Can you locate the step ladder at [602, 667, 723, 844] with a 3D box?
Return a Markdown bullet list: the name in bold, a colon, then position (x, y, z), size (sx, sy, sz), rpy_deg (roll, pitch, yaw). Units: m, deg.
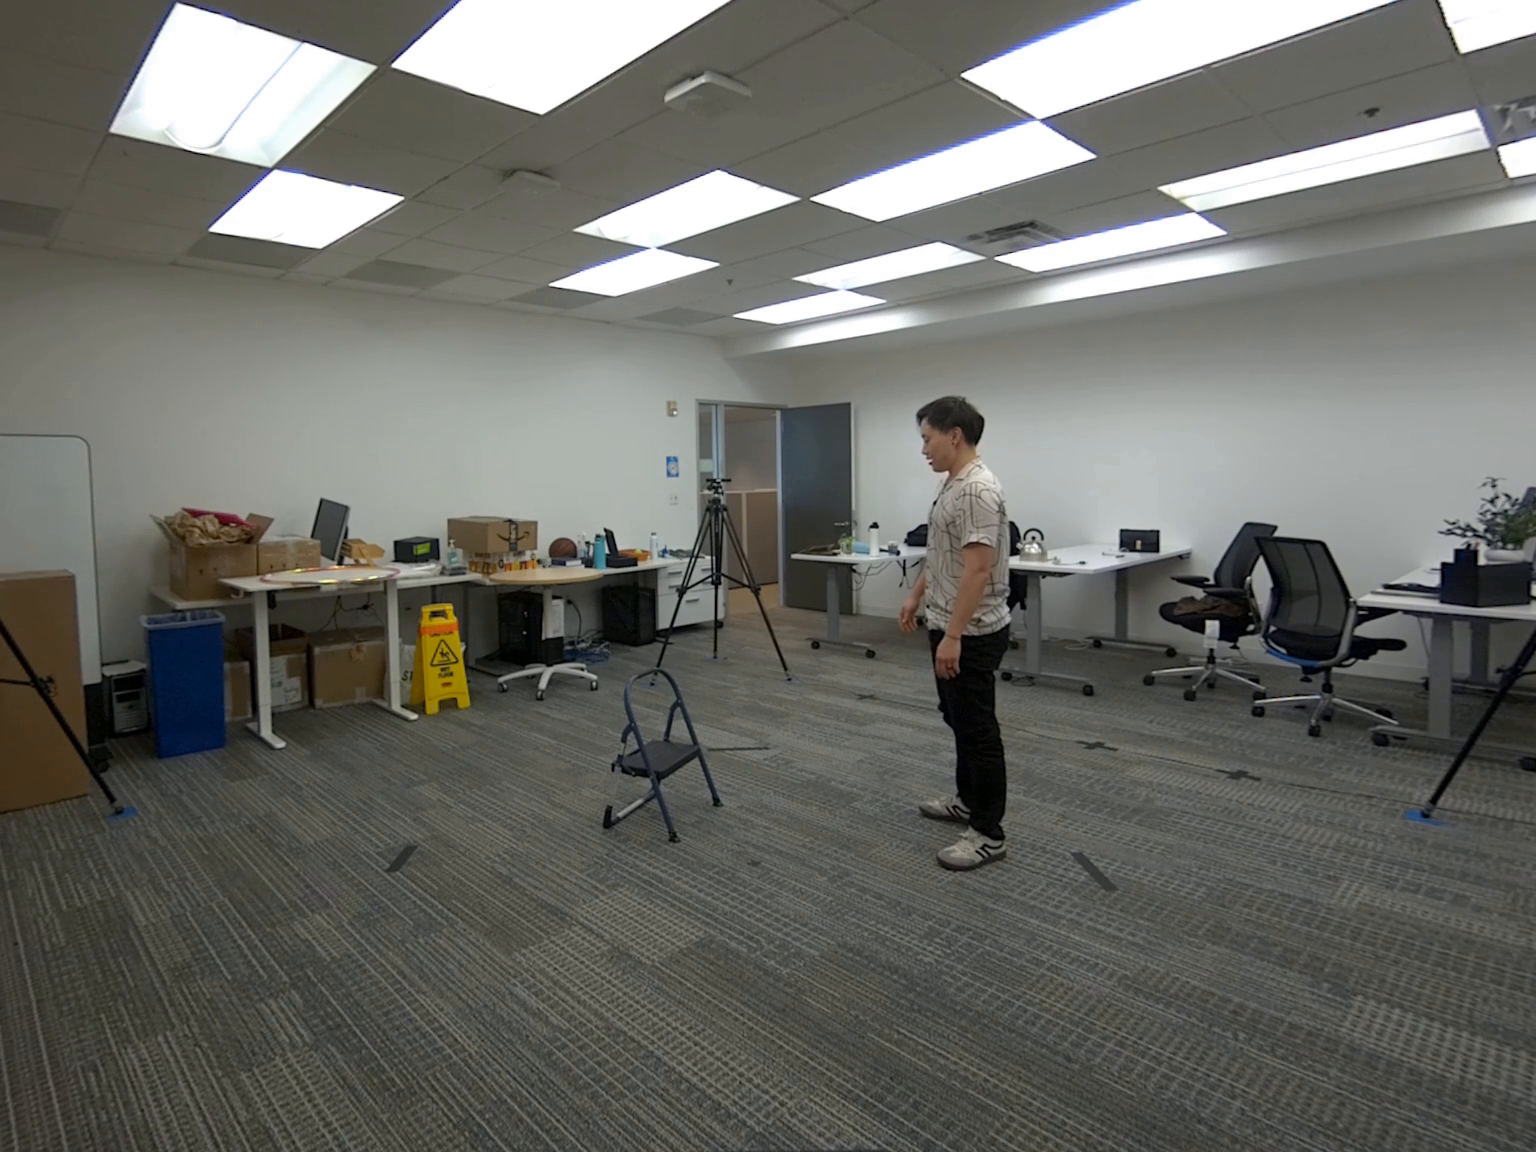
- **step ladder**: position (-0.438, 0.697, 3.540), size (0.357, 0.604, 0.423), rpy_deg (0, 4, 23)
